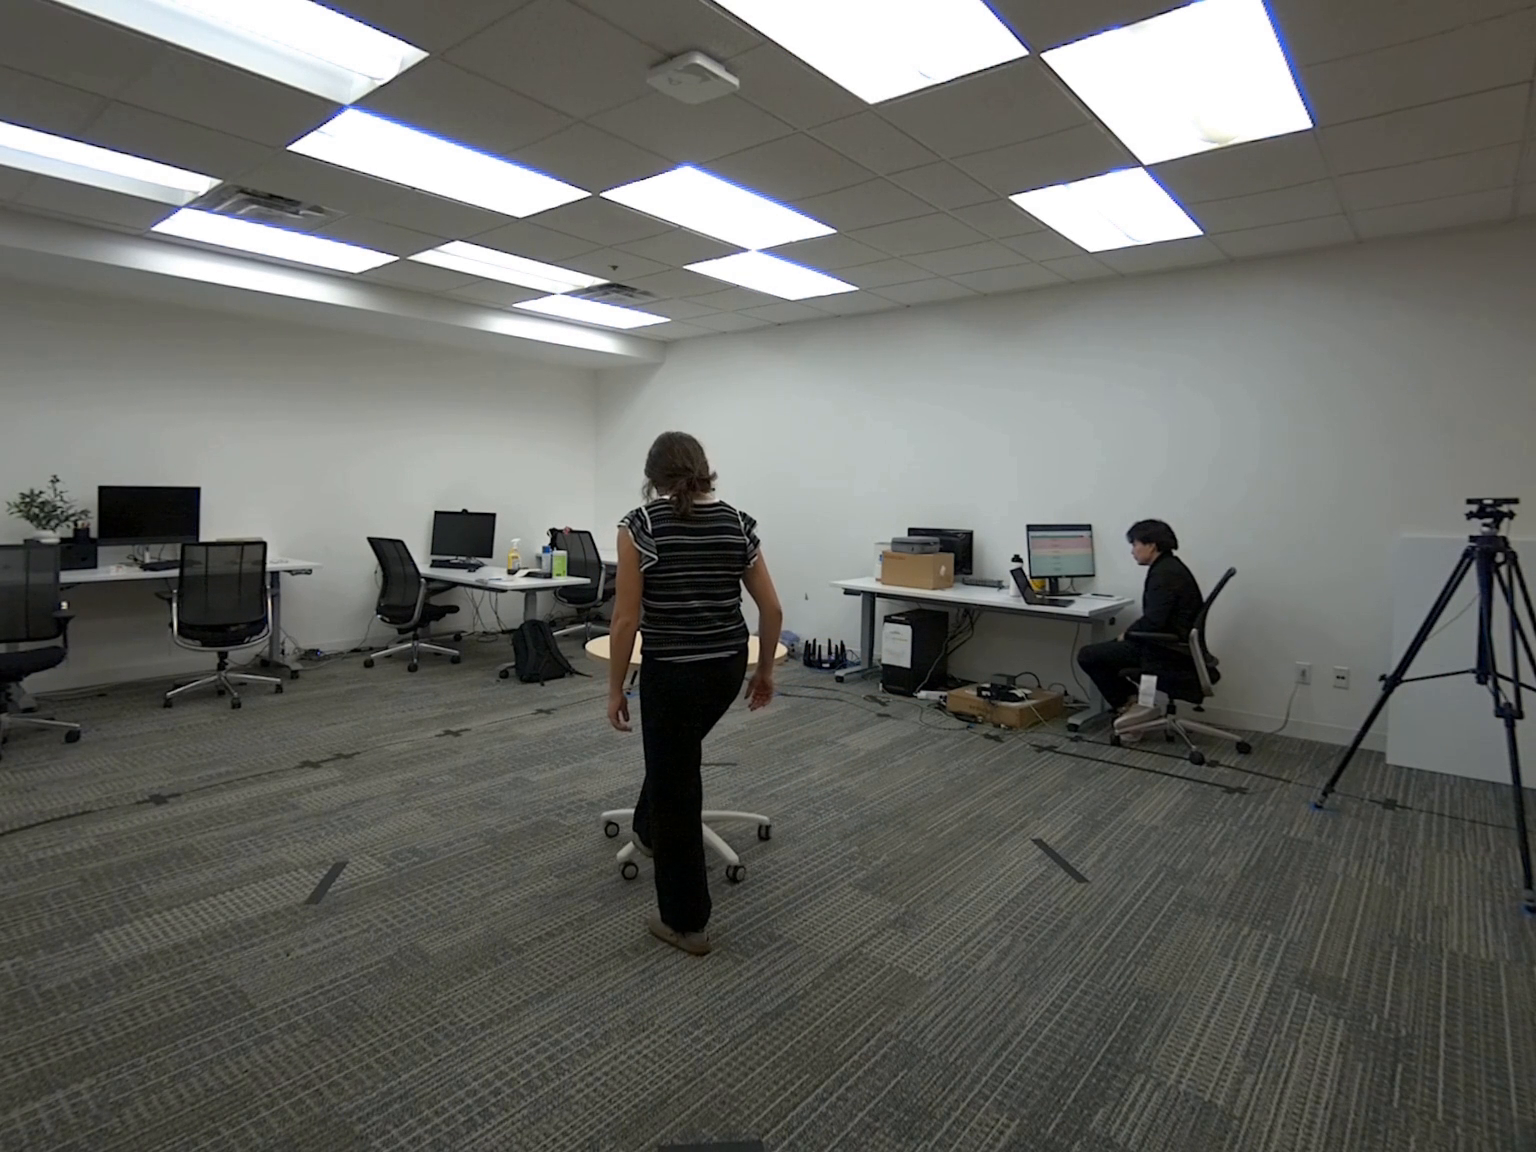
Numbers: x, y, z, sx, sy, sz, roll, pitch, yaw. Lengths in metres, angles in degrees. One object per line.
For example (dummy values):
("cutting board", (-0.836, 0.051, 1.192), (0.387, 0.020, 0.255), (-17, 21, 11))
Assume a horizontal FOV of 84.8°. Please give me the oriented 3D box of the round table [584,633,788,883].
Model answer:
("round table", (-0.337, 0.651, 3.252), (0.784, 0.784, 0.789), (1, 4, -2))
